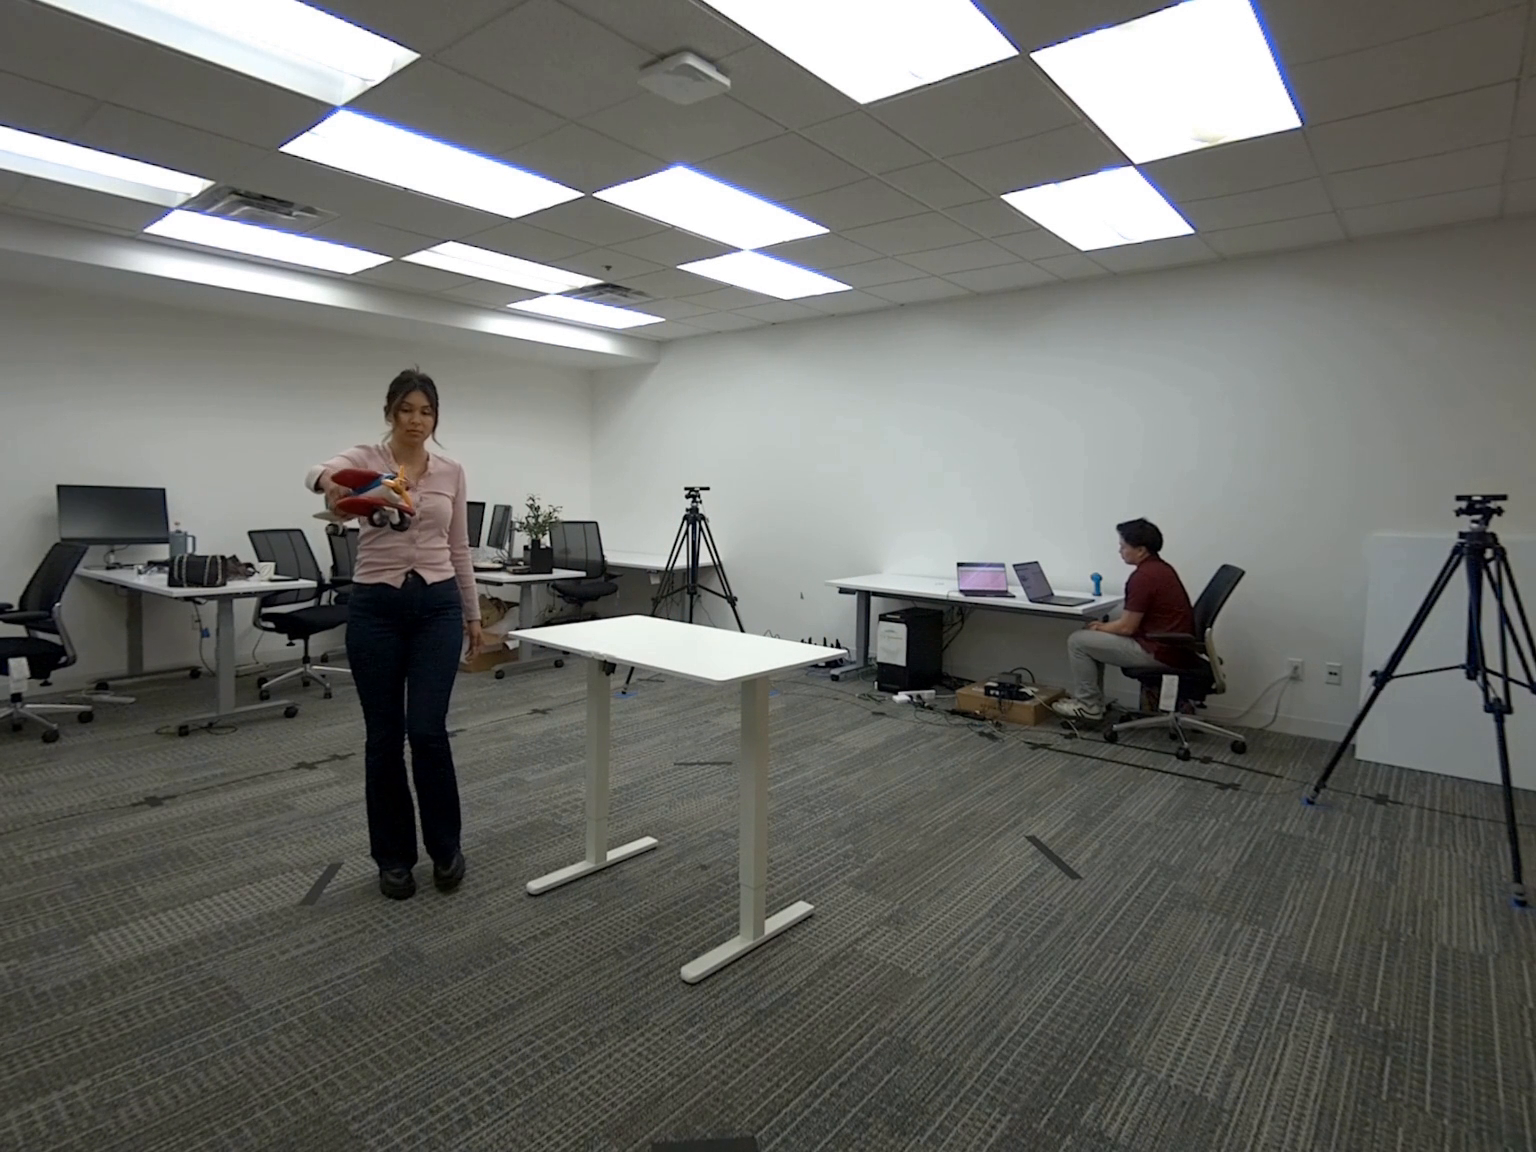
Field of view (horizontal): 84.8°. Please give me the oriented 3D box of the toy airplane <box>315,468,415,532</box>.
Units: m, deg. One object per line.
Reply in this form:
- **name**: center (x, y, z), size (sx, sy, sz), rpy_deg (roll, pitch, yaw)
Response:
- **toy airplane**: center (-1.106, -0.198, 2.284), size (0.257, 0.158, 0.251), rpy_deg (-1, -7, -10)
